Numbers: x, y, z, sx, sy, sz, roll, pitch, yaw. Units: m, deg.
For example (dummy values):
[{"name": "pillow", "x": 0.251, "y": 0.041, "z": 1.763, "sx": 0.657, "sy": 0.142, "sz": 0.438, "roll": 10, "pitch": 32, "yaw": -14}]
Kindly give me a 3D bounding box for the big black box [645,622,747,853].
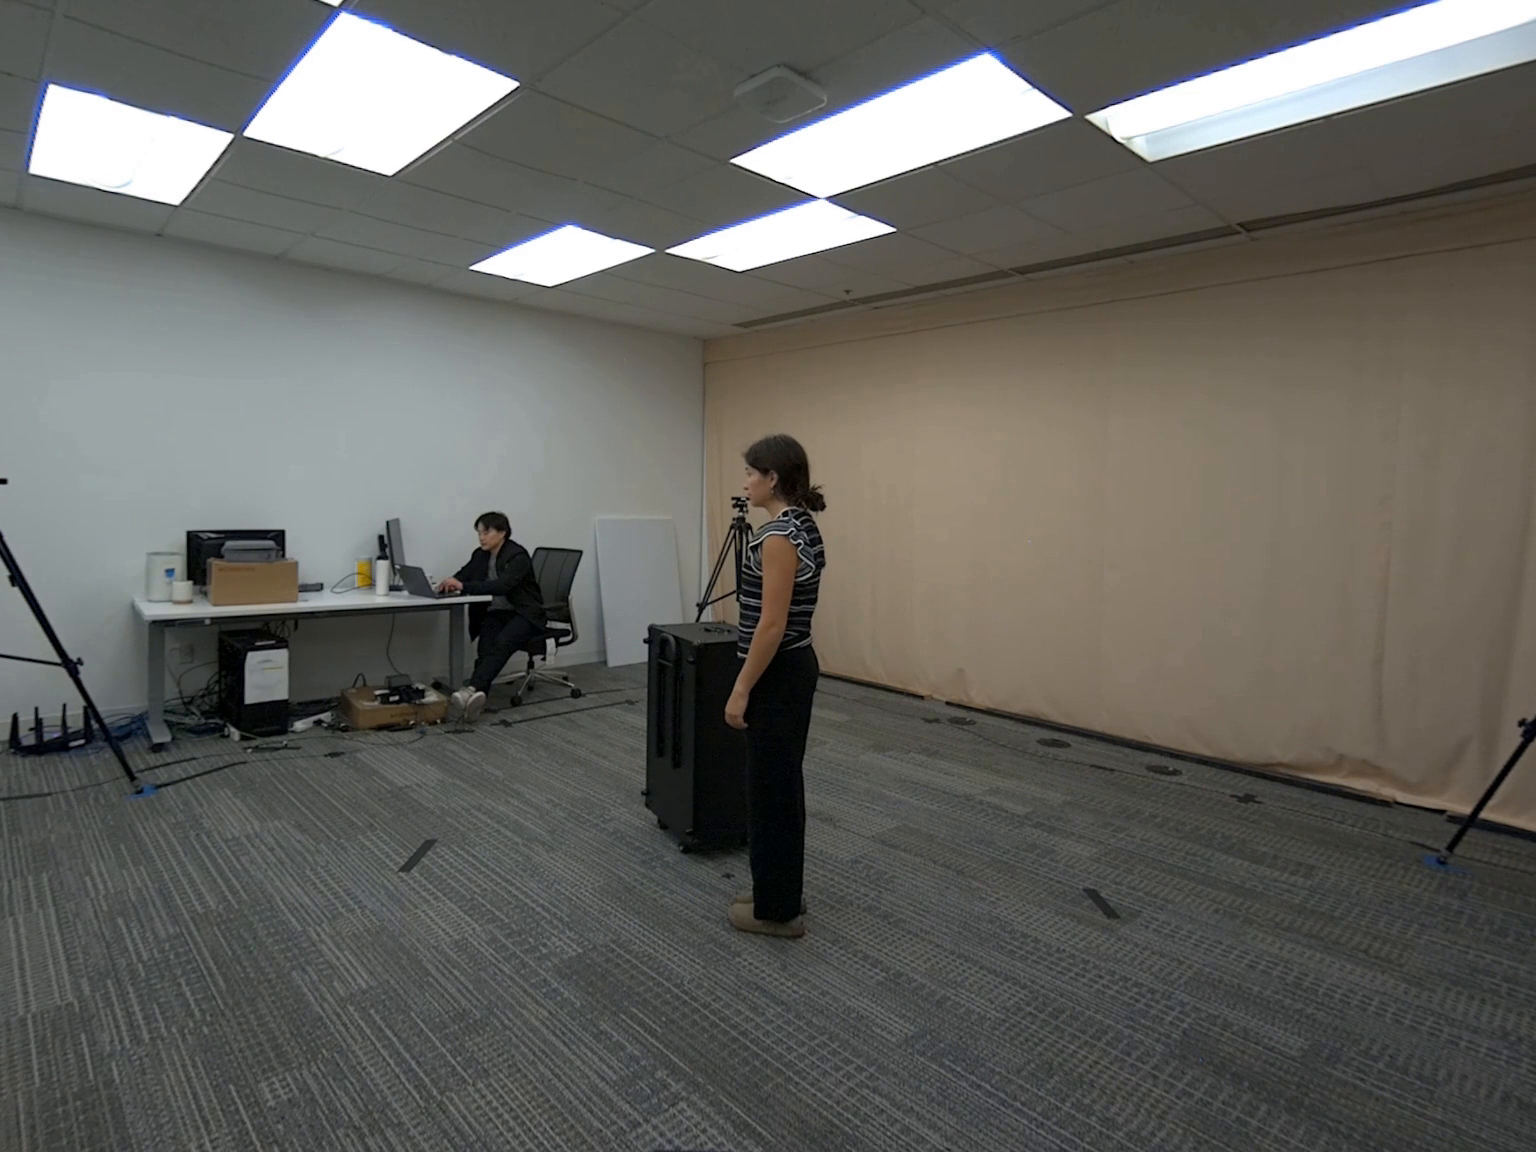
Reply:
[{"name": "big black box", "x": -0.257, "y": 0.650, "z": 3.435, "sx": 0.389, "sy": 0.859, "sz": 0.533, "roll": -1, "pitch": 4, "yaw": -28}]
